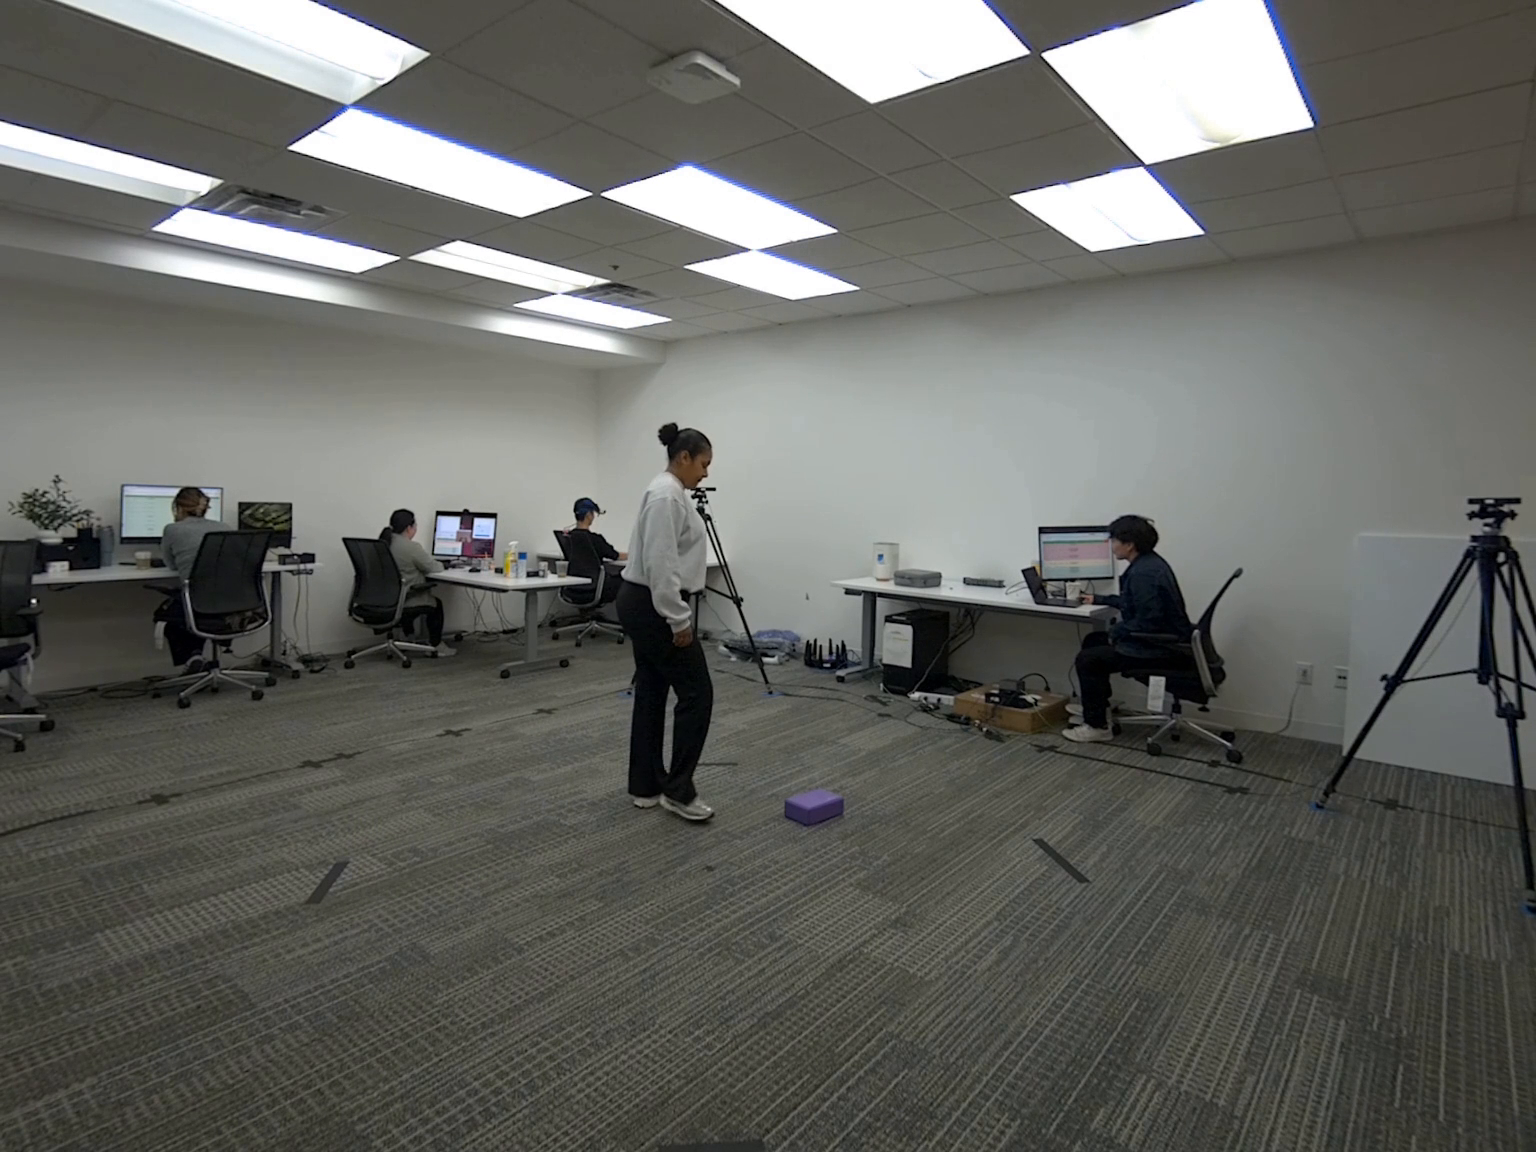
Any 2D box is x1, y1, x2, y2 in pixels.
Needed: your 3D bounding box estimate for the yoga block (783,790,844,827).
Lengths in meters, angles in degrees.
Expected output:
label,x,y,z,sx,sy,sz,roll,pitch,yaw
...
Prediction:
label,x,y,z,sx,sy,sz,roll,pitch,yaw
yoga block,0.189,0.984,3.642,0.222,0.076,0.154,-4,7,-43
